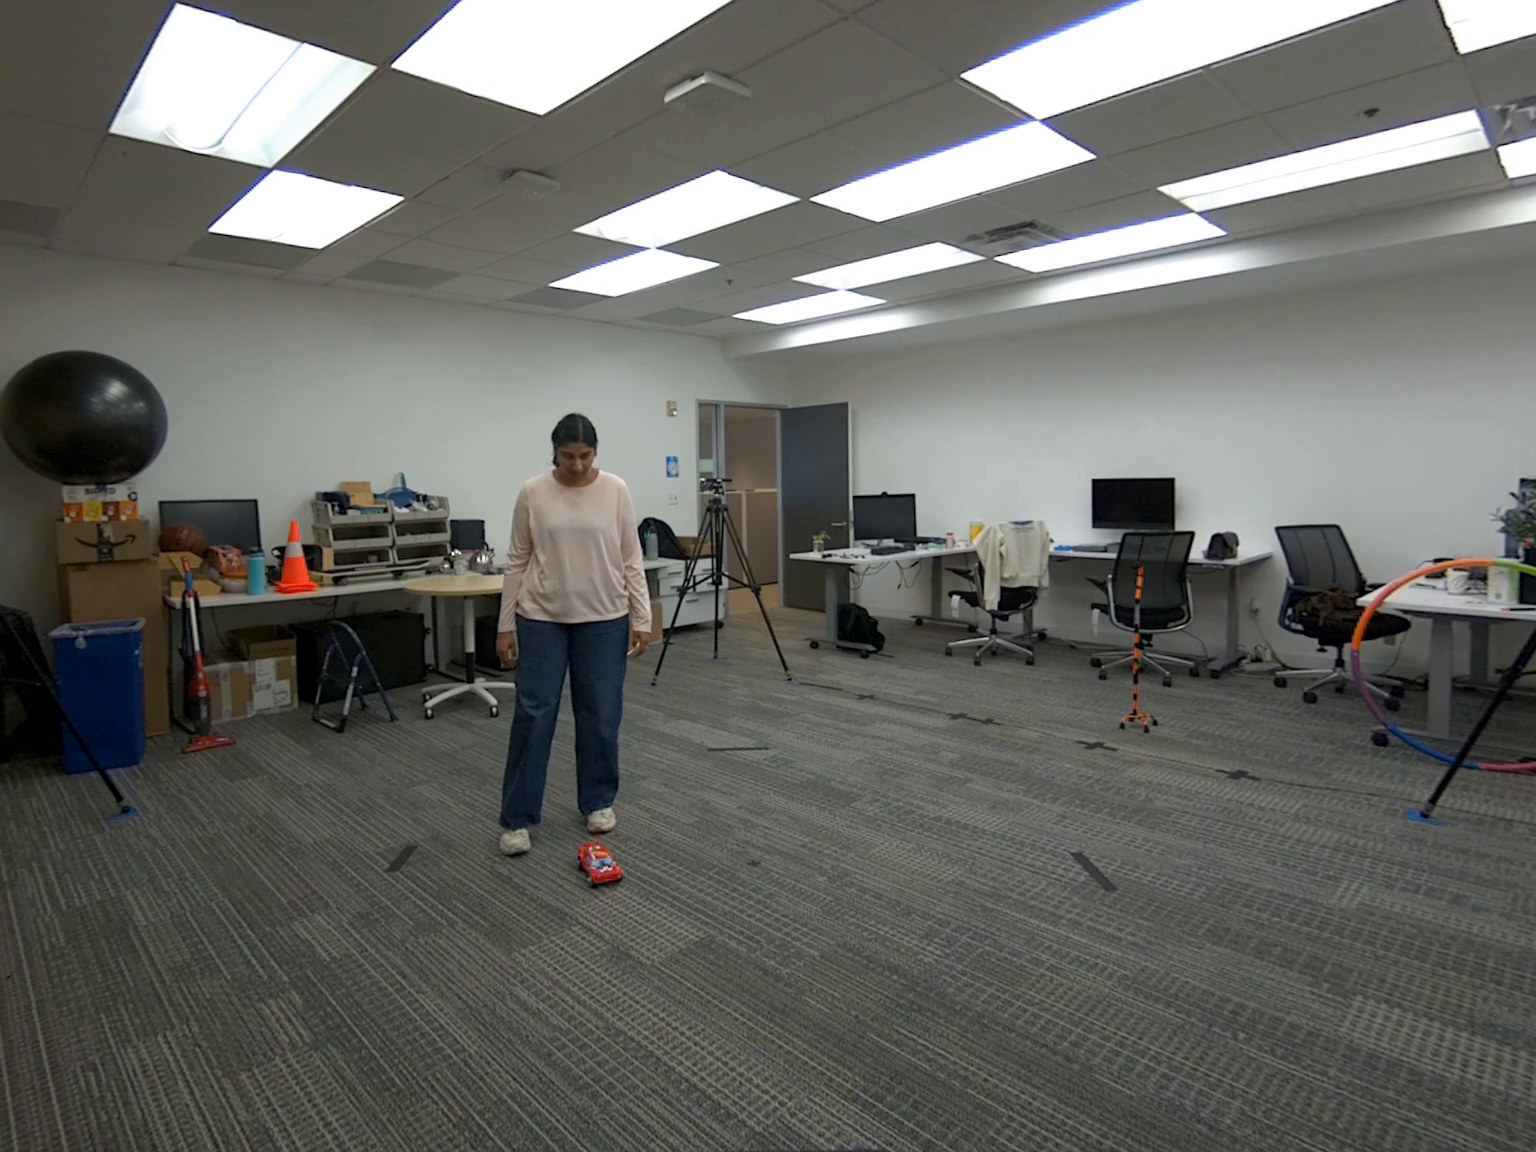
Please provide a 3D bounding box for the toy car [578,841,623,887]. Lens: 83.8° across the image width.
[{"bbox_3d":[-0.606,1.029,3.054,0.128,0.082,0.263,-5,17,-25],"label":"toy car"}]
